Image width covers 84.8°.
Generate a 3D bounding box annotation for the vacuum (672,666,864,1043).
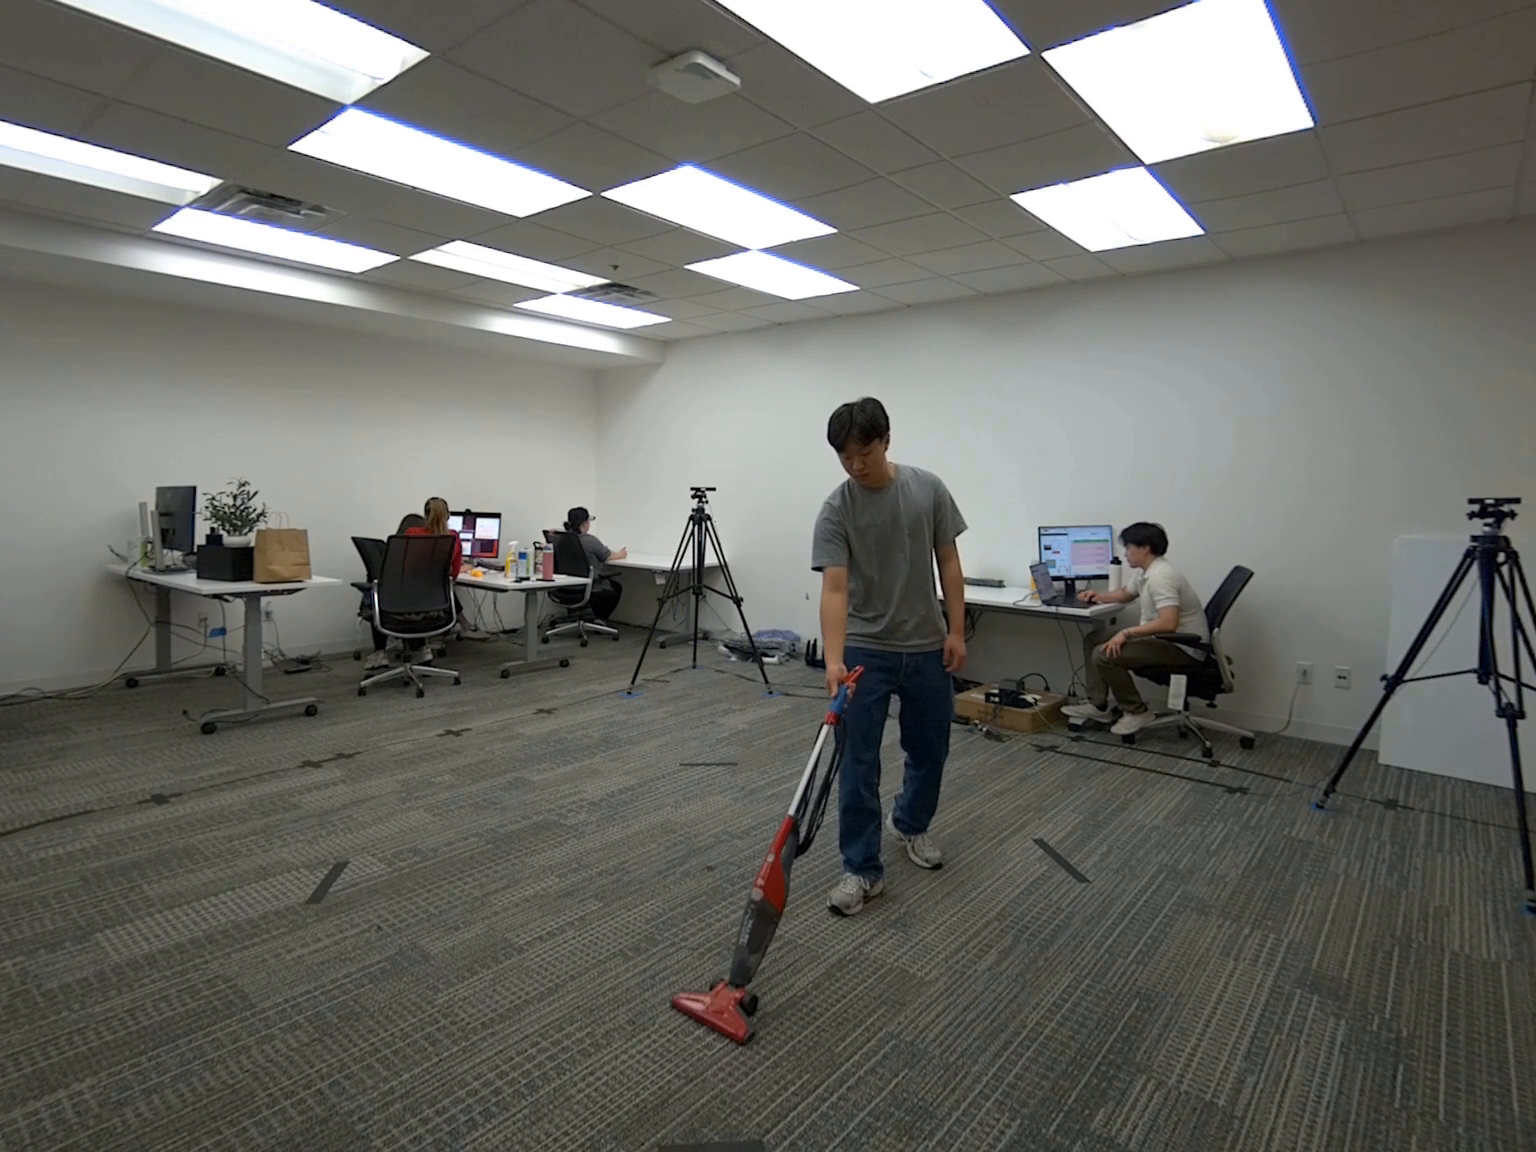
[{"bbox_3d":[0.083,0.732,2.486,0.261,1.058,0.138,7,-34,34],"label":"vacuum"}]
